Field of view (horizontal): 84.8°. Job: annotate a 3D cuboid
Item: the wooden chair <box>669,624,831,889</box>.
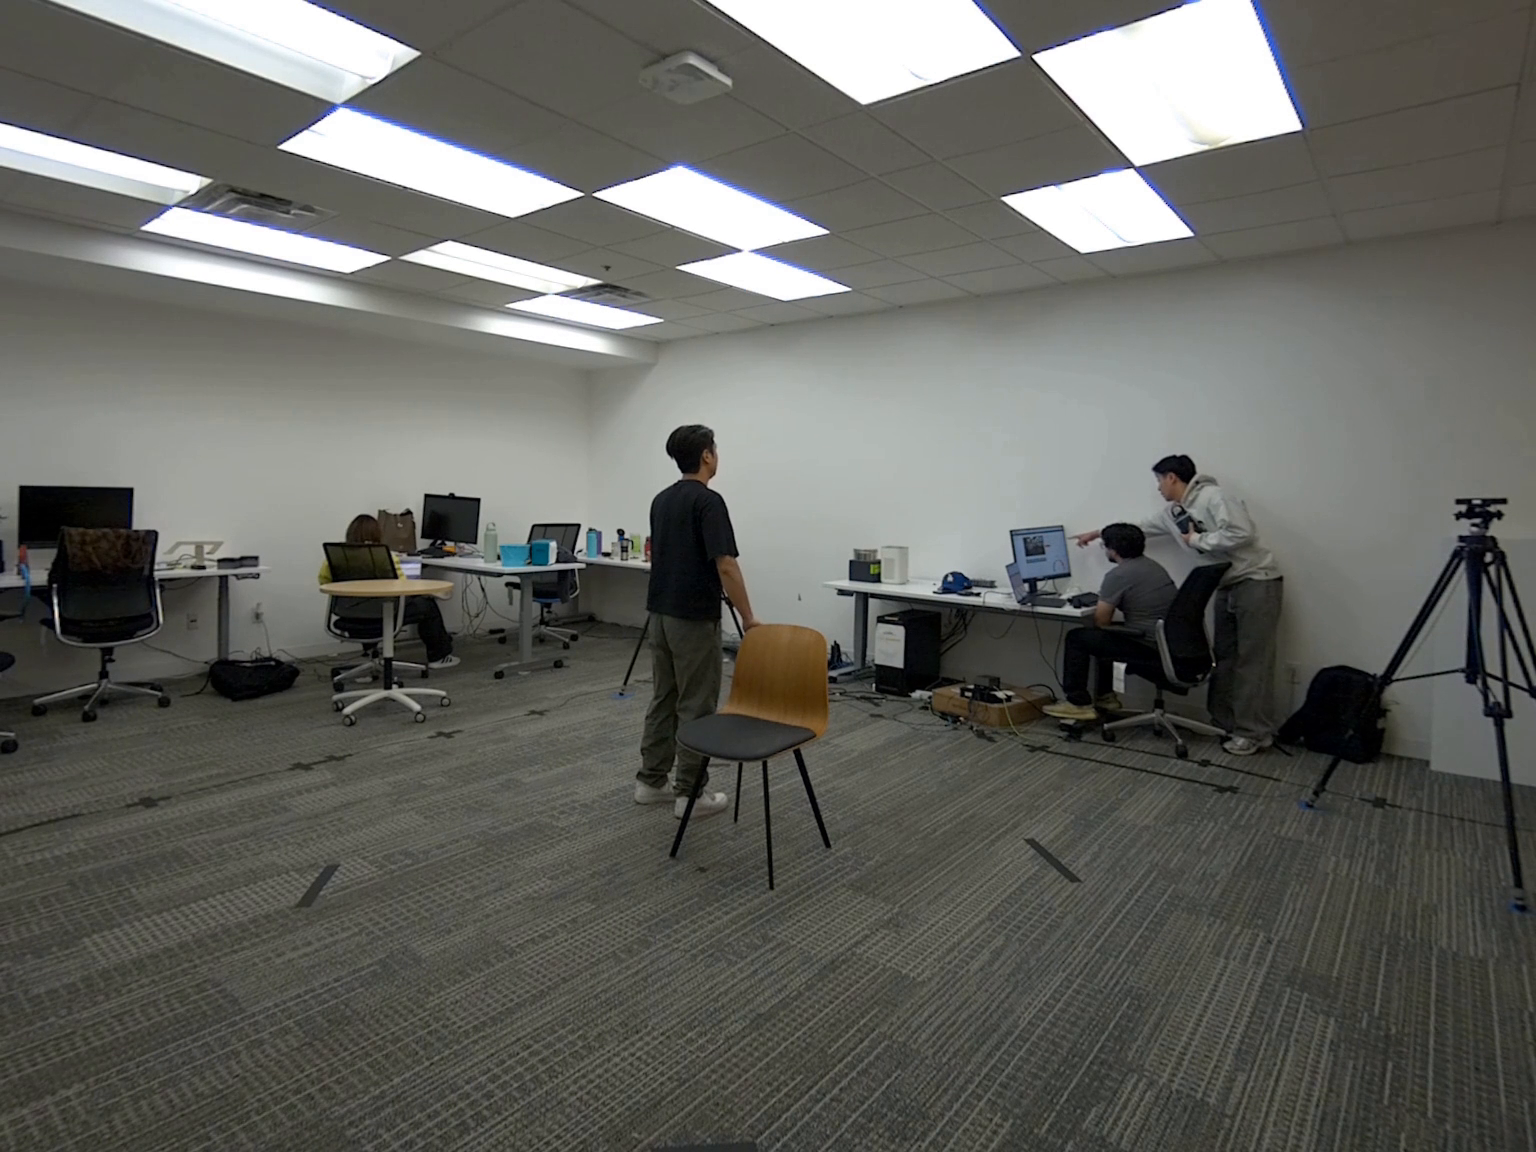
[{"bbox_3d":[-0.062,0.632,3.230,0.493,0.878,0.507,3,0,32],"label":"wooden chair"}]
